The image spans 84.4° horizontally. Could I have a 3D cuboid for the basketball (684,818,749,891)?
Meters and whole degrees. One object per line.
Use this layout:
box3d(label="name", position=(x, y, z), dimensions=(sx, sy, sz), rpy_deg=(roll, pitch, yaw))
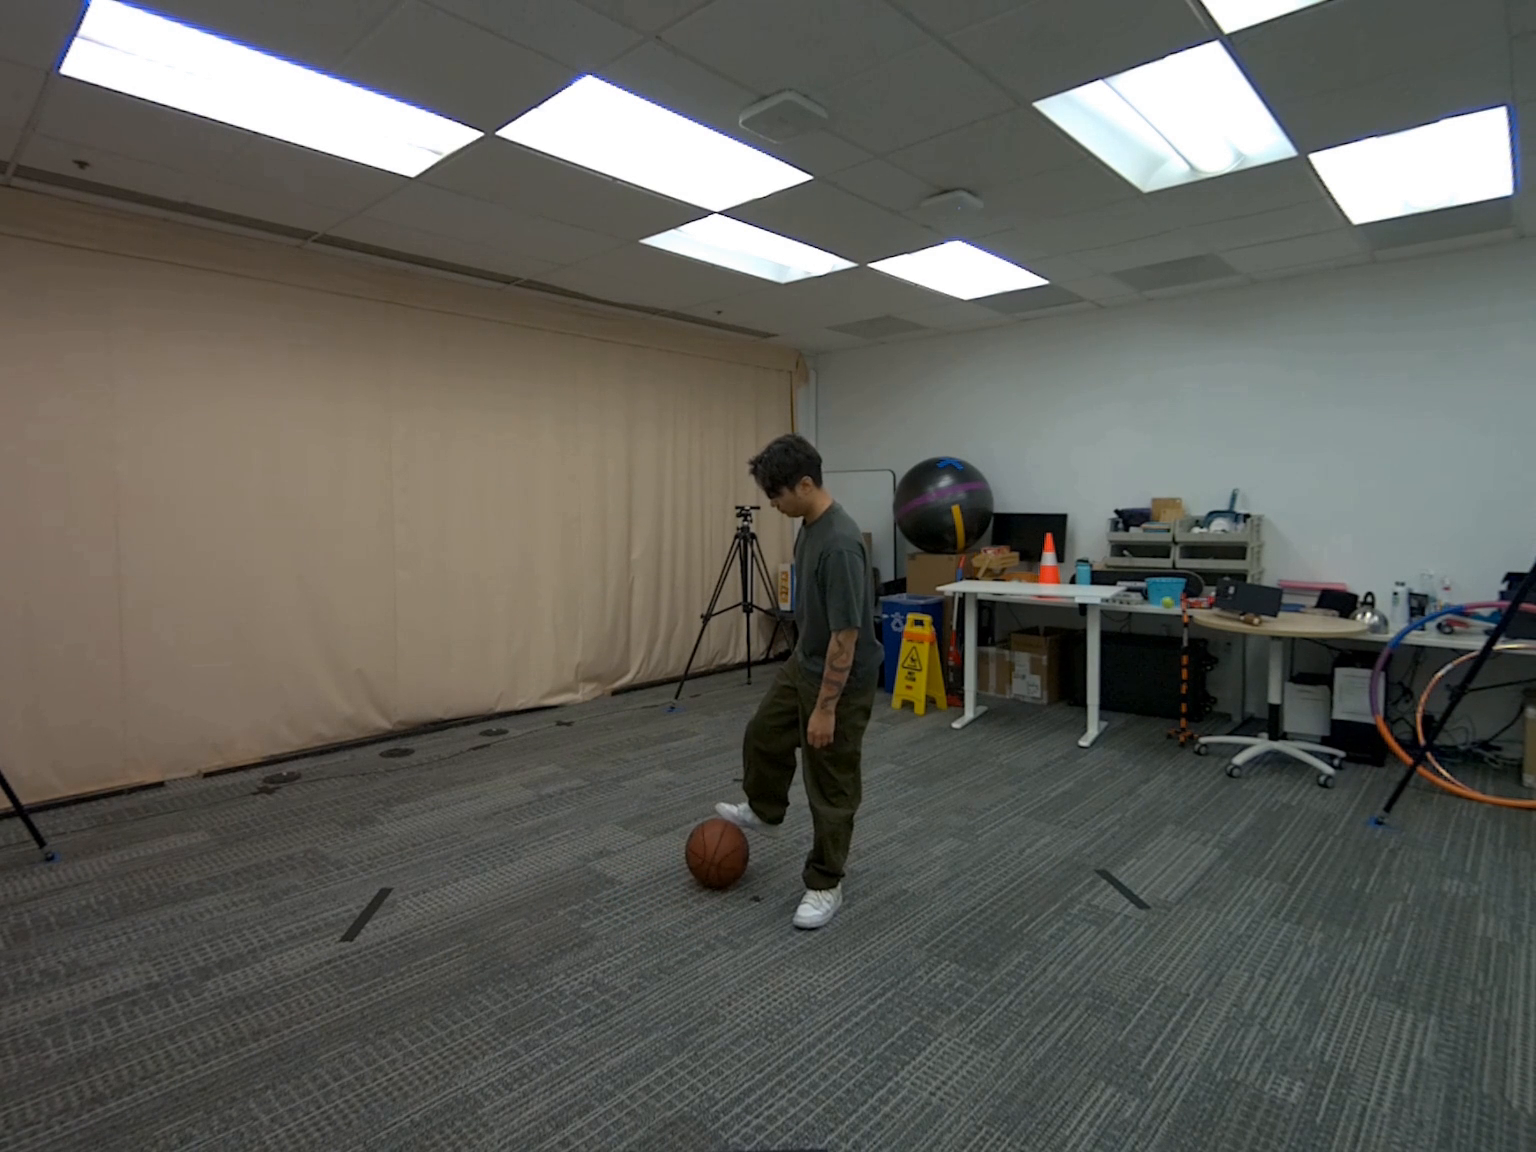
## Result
box3d(label="basketball", position=(-0.183, 1.016, 3.093), dimensions=(0.236, 0.235, 0.237), rpy_deg=(0, 4, -2))
